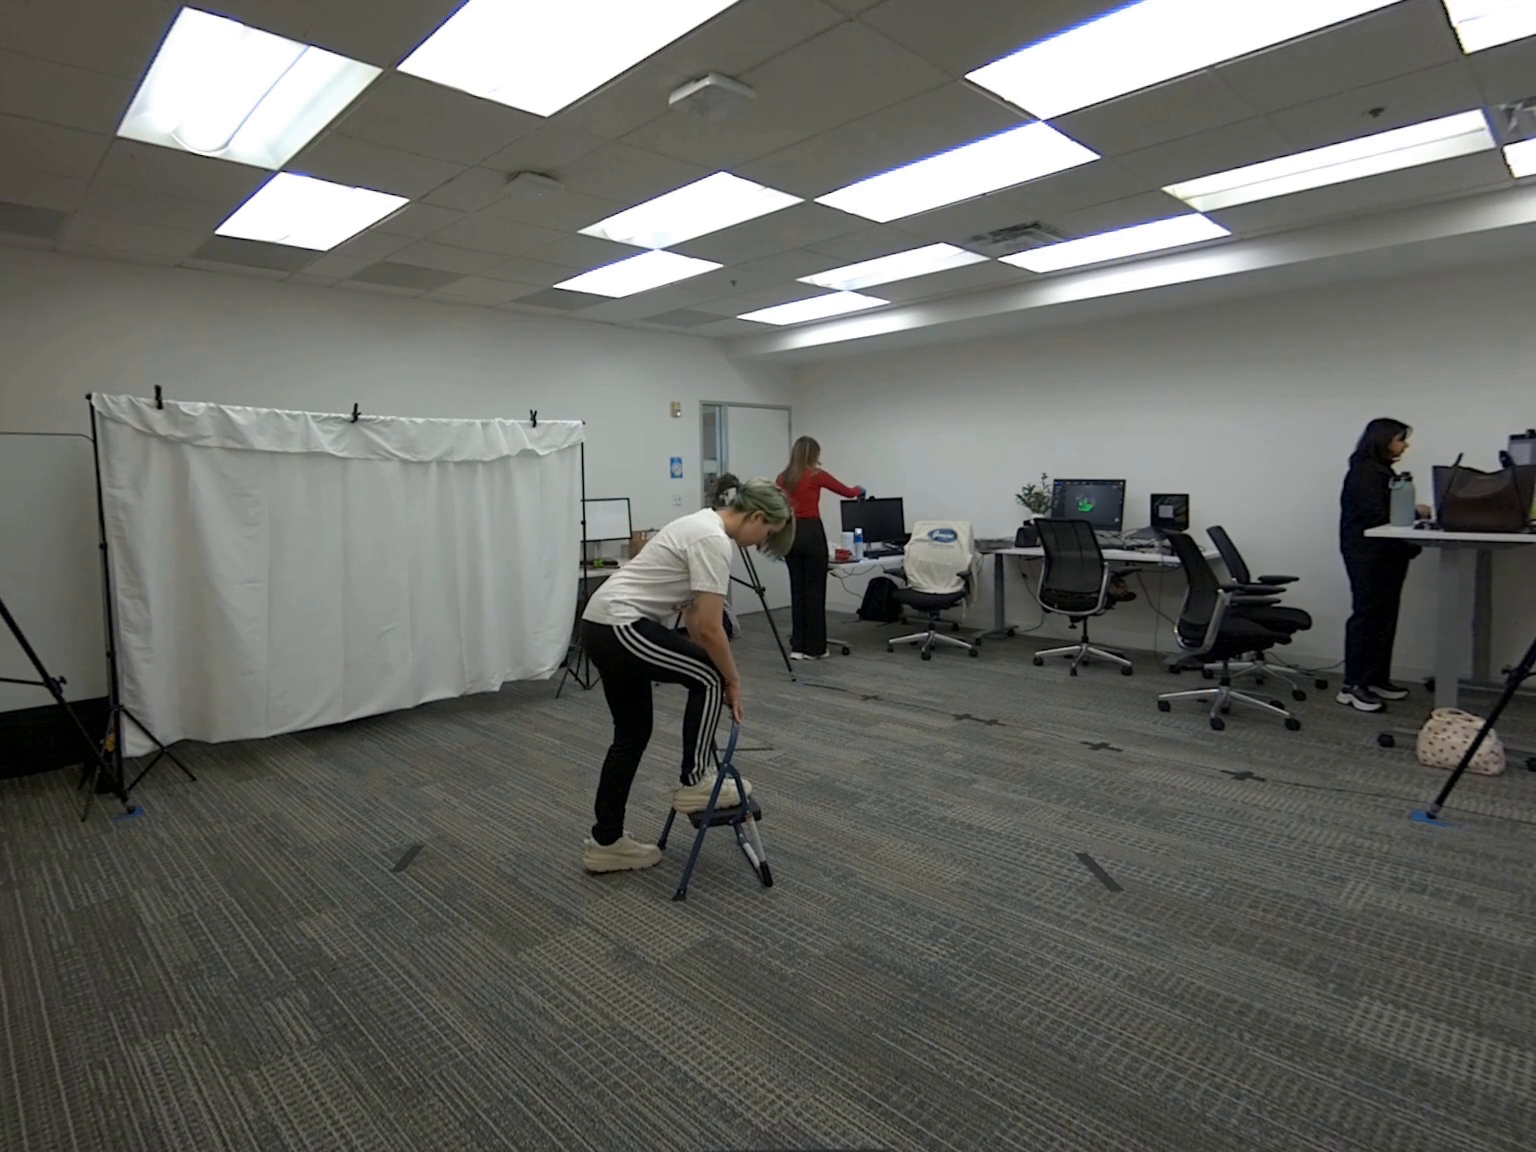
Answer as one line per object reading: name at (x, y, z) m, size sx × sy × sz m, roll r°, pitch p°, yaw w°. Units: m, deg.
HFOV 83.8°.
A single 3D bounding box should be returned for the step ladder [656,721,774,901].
step ladder at (-0.207, 0.754, 3.071) m, size 0.344 × 0.604 × 0.438 m, roll -2°, pitch 5°, yaw -16°
